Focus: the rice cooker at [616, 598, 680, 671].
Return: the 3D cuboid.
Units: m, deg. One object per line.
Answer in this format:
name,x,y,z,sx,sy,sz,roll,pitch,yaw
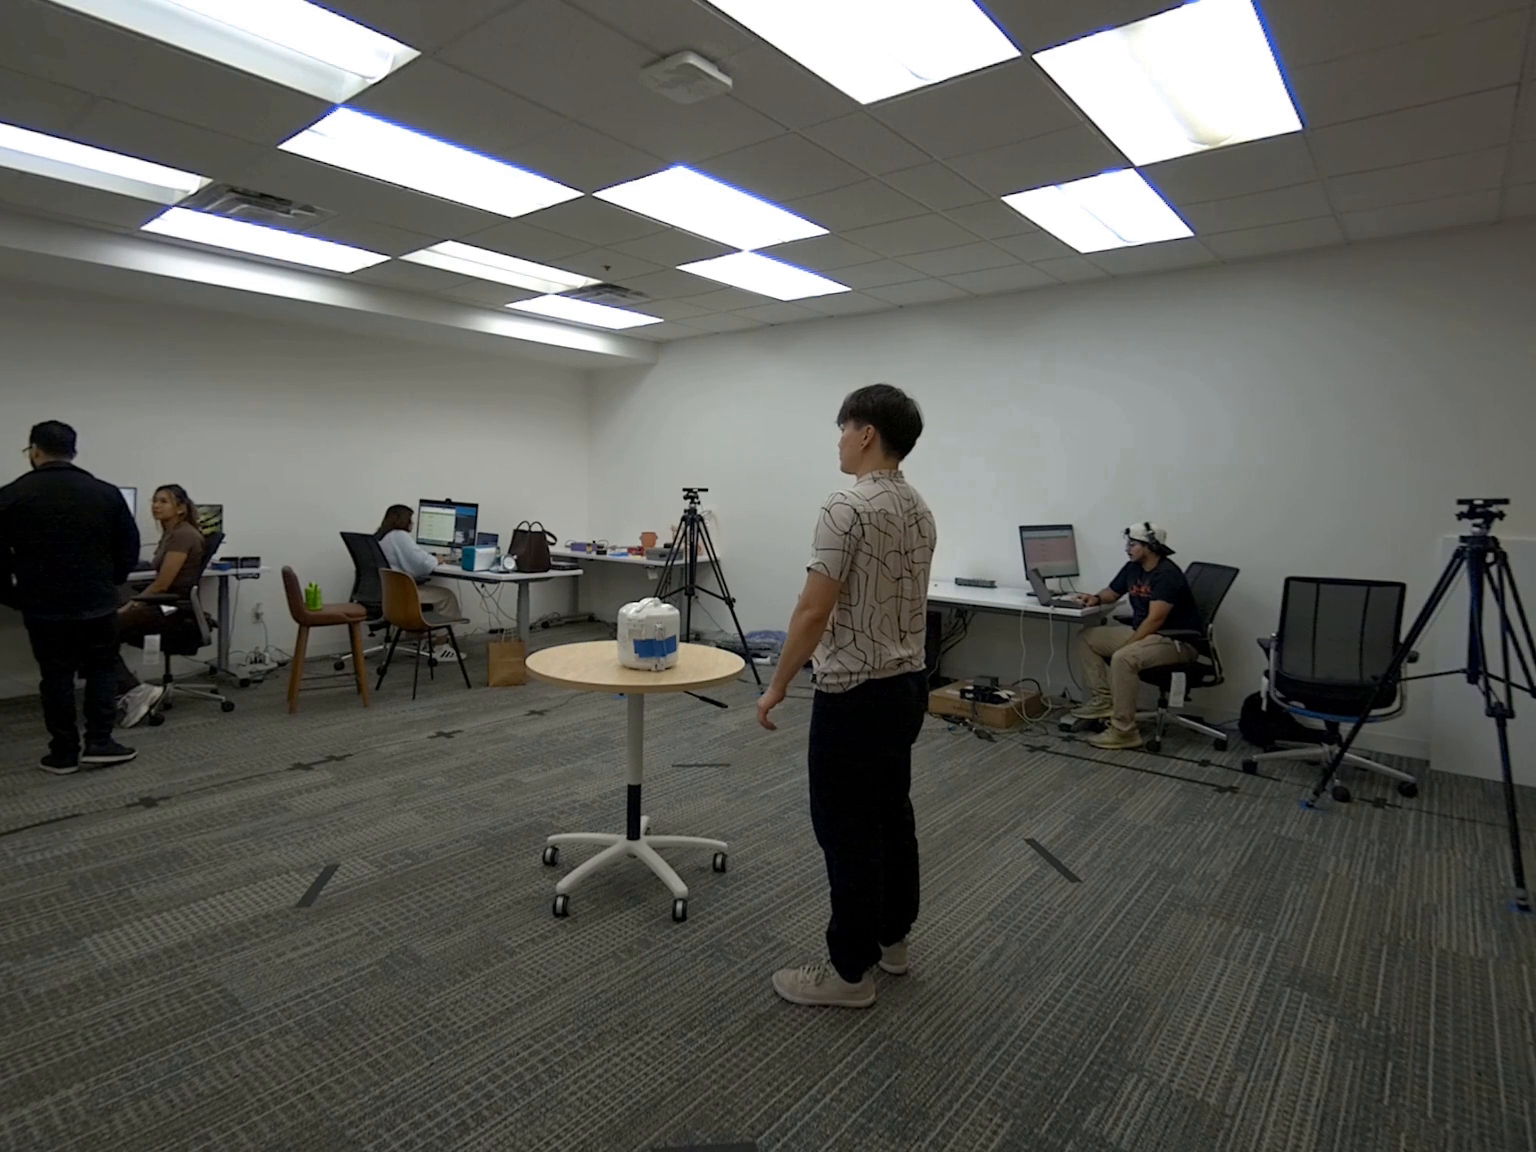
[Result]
rice cooker,-0.420,0.189,2.904,0.222,0.232,0.217,4,5,19
